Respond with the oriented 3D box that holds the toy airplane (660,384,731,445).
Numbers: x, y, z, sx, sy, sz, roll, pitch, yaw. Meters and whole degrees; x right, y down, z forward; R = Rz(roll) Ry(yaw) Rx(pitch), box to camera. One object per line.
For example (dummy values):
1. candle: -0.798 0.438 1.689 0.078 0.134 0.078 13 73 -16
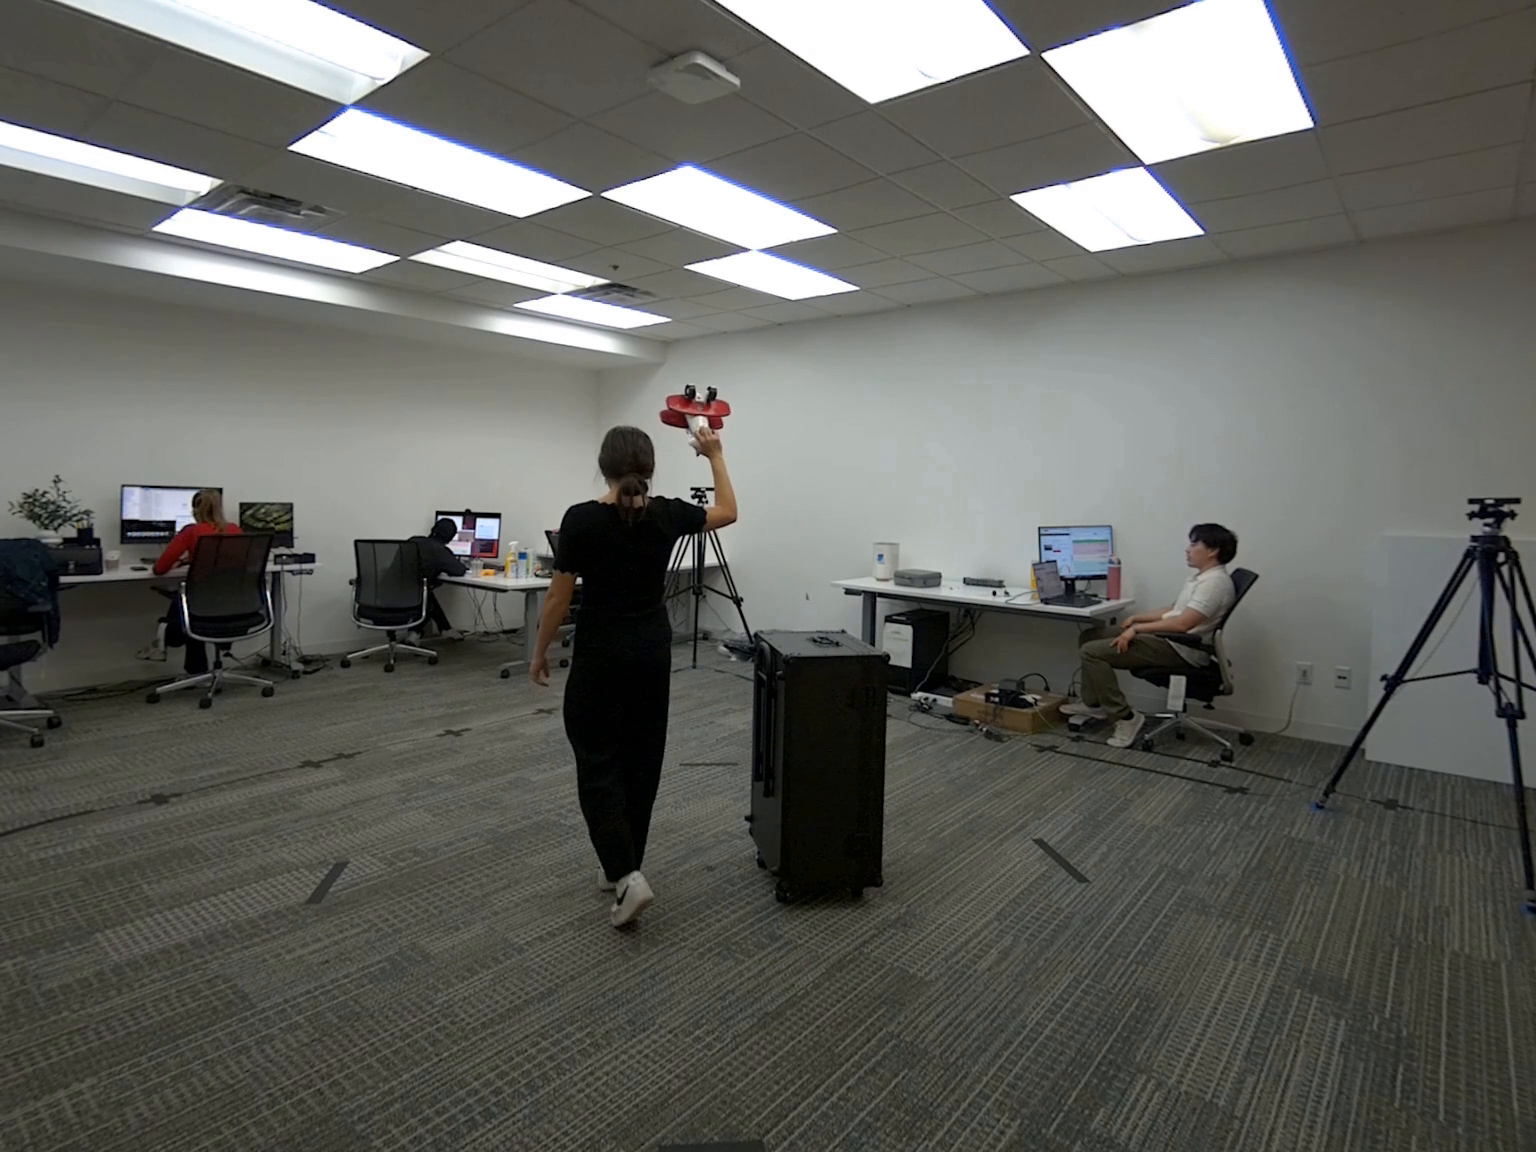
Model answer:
1. toy airplane: -0.284 -0.586 3.158 0.247 0.262 0.157 27 -29 -12
